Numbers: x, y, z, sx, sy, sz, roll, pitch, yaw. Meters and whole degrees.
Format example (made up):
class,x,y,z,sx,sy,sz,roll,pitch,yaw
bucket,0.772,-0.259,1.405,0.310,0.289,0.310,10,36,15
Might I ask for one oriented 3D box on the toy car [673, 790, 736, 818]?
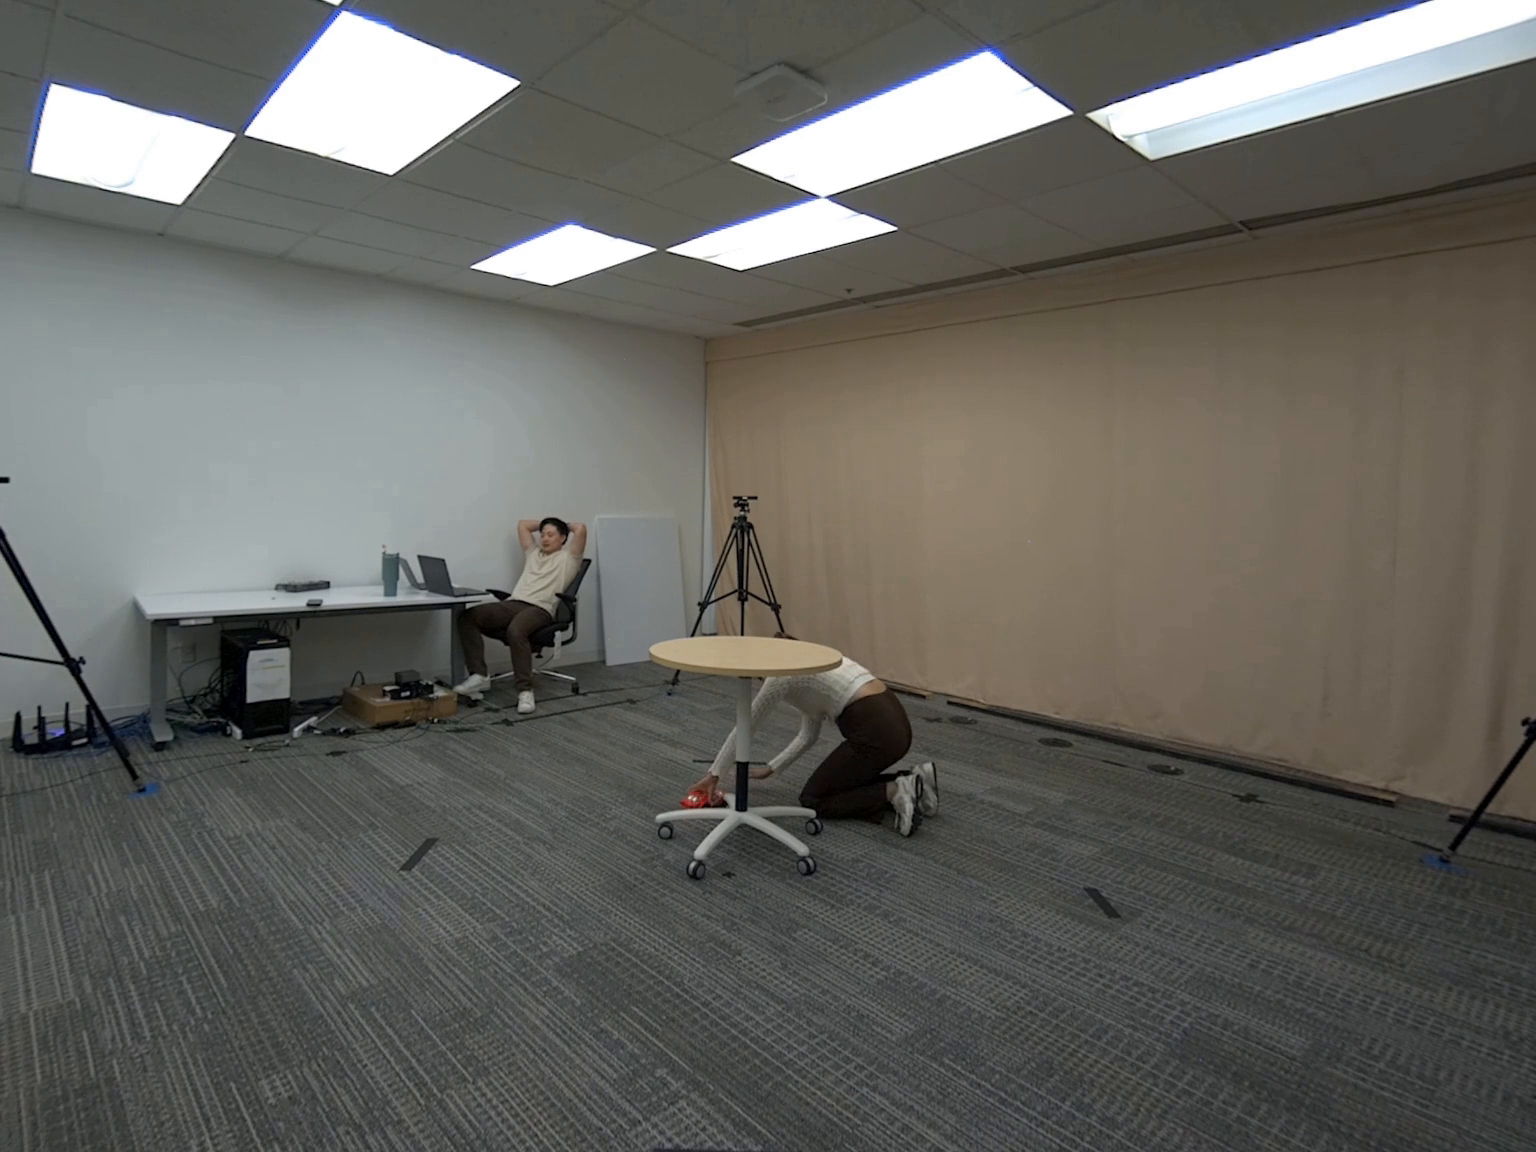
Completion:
class,x,y,z,sx,sy,sz,roll,pitch,yaw
toy car,-0.283,1.007,3.771,0.133,0.083,0.247,4,-6,40
